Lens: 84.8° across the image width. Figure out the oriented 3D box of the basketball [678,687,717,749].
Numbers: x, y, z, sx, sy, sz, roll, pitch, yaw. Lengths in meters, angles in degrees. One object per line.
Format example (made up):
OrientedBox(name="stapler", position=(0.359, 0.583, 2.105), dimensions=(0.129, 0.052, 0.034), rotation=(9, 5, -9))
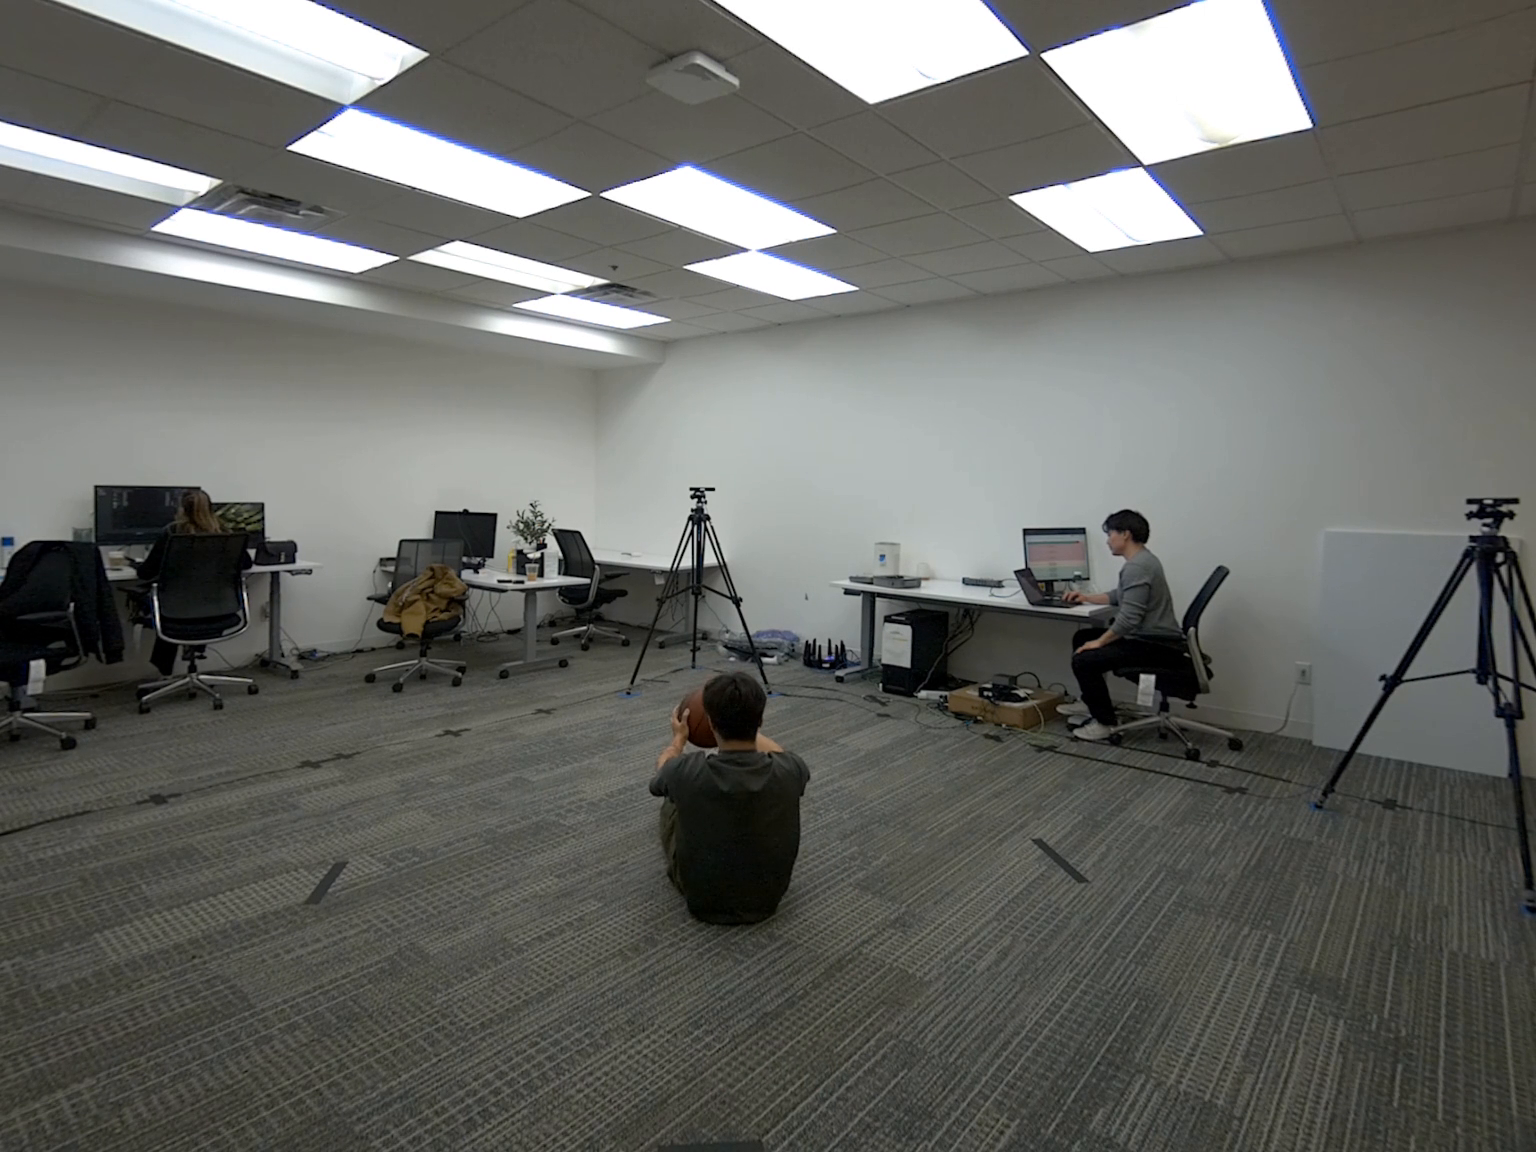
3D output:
OrientedBox(name="basketball", position=(-0.247, 0.547, 3.336), dimensions=(0.235, 0.235, 0.237), rotation=(1, 4, -2))
